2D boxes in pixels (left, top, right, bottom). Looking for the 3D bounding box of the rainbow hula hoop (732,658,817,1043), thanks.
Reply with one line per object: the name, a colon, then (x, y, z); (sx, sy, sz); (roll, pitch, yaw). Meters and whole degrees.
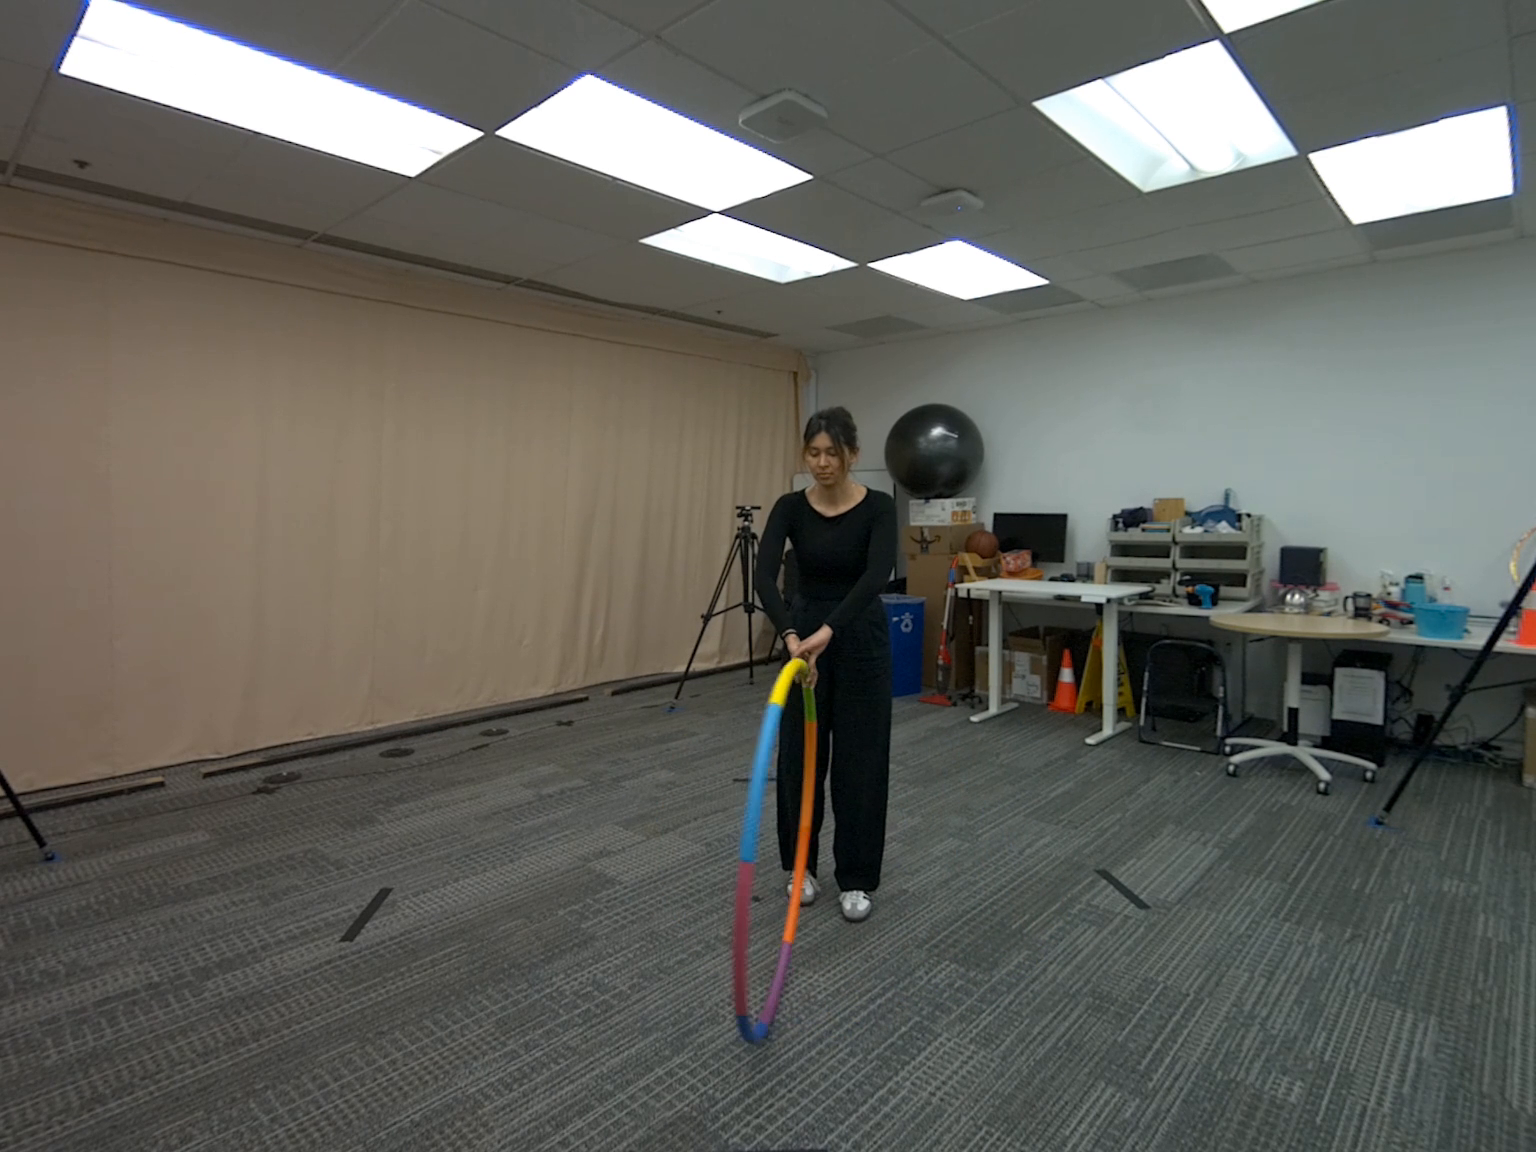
rainbow hula hoop: (0.039, 0.720, 2.292); (0.036, 0.976, 0.967); (5, 5, 10)
